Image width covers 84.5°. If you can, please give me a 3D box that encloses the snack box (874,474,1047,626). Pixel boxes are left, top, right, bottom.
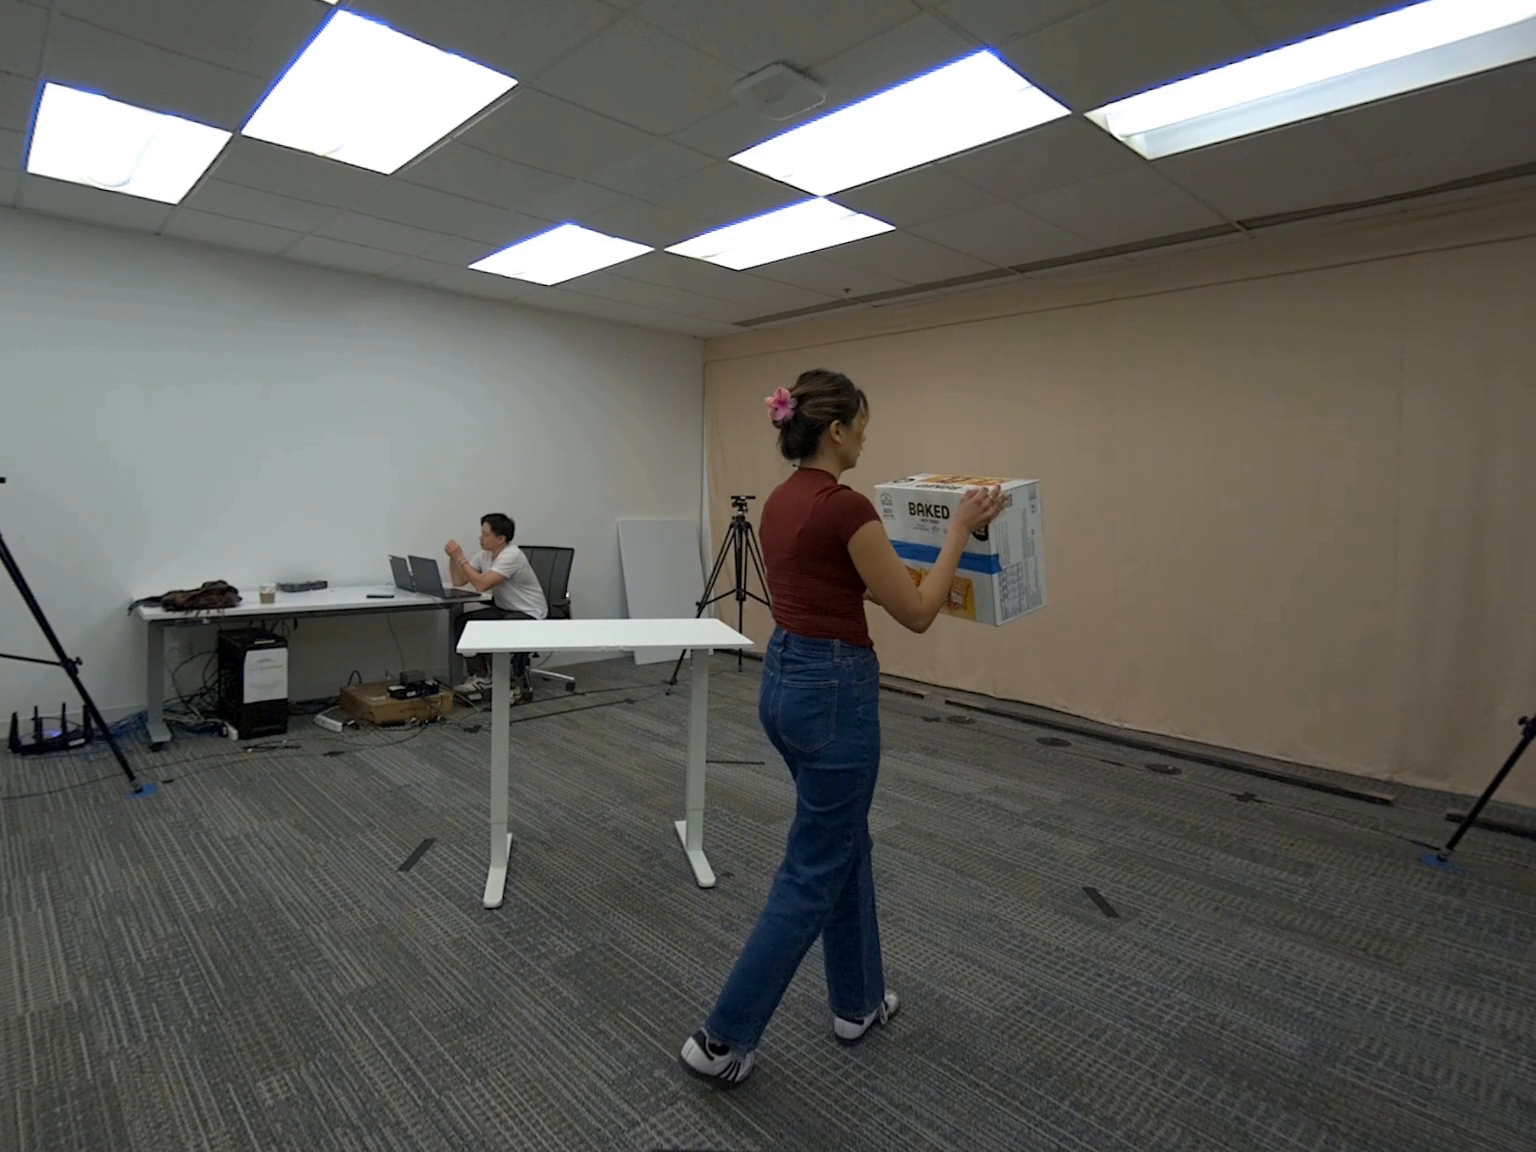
[{"bbox_3d":[0.504,-0.089,2.275,0.203,0.336,0.416,-16,17,-31],"label":"snack box"}]
